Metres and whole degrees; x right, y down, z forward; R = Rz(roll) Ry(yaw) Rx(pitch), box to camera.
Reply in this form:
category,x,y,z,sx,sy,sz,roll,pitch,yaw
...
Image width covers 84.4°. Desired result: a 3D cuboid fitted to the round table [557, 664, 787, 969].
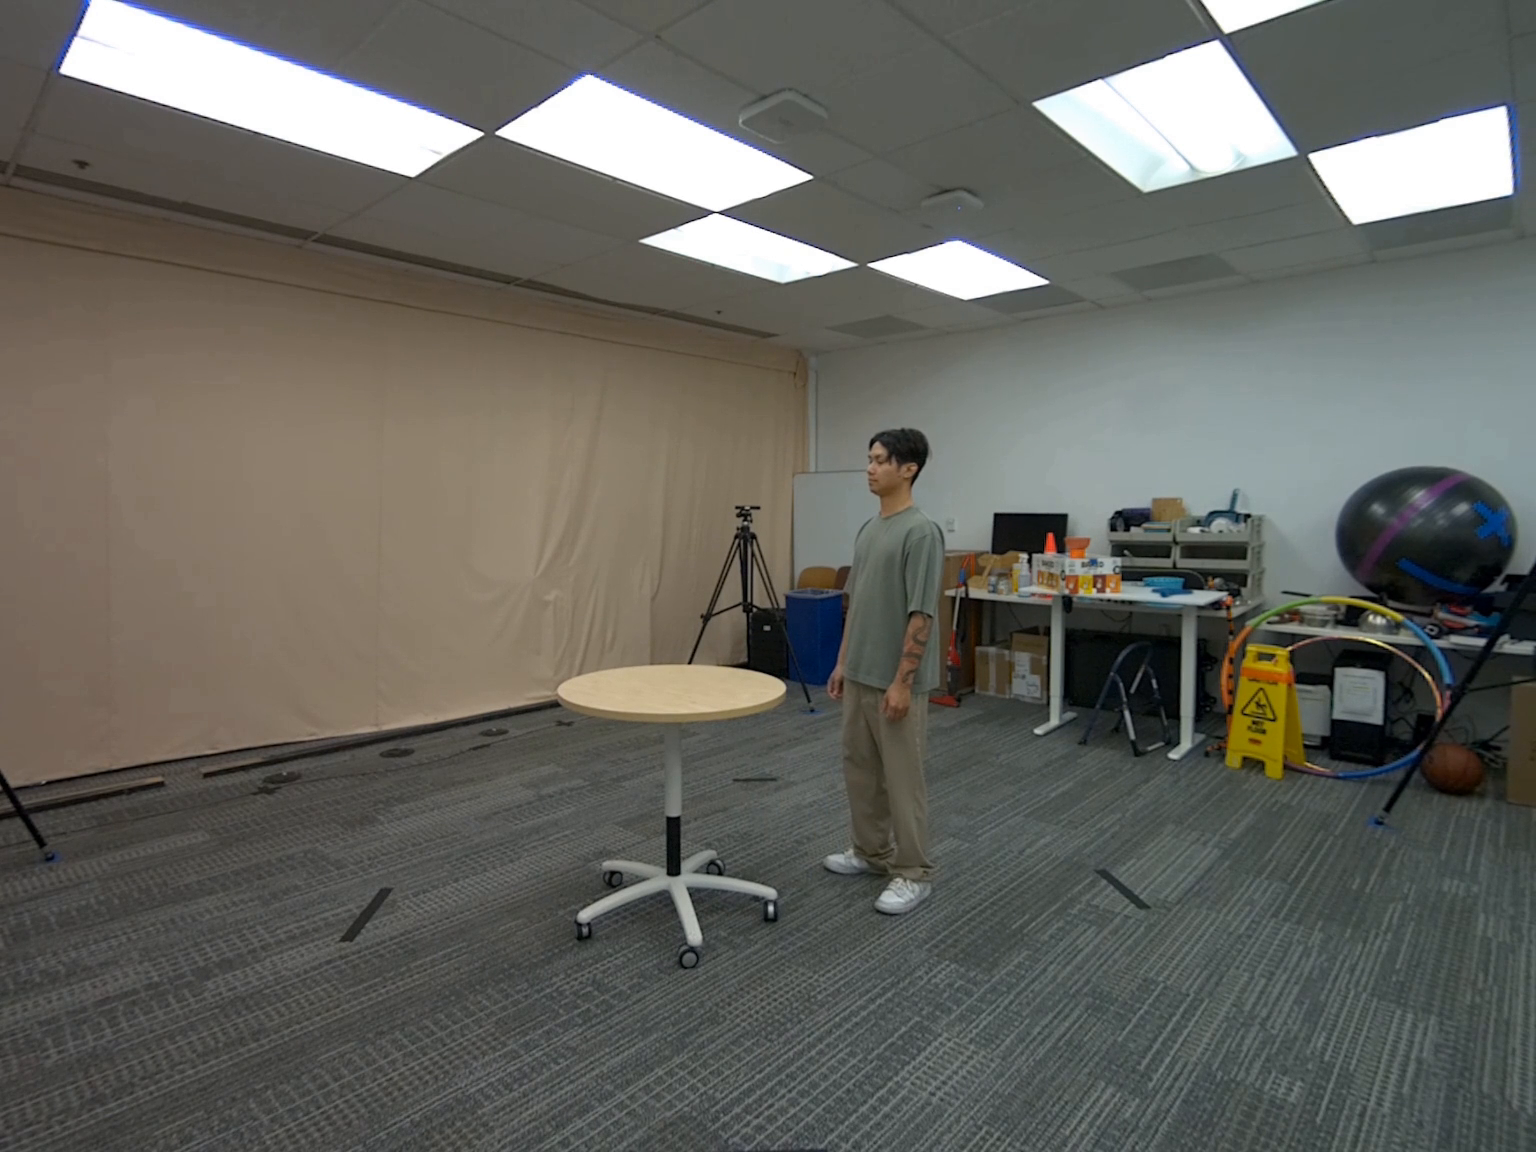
category,x,y,z,sx,sy,sz,roll,pitch,yaw
round table,-0.336,0.766,2.858,0.784,0.785,0.787,1,3,-2
